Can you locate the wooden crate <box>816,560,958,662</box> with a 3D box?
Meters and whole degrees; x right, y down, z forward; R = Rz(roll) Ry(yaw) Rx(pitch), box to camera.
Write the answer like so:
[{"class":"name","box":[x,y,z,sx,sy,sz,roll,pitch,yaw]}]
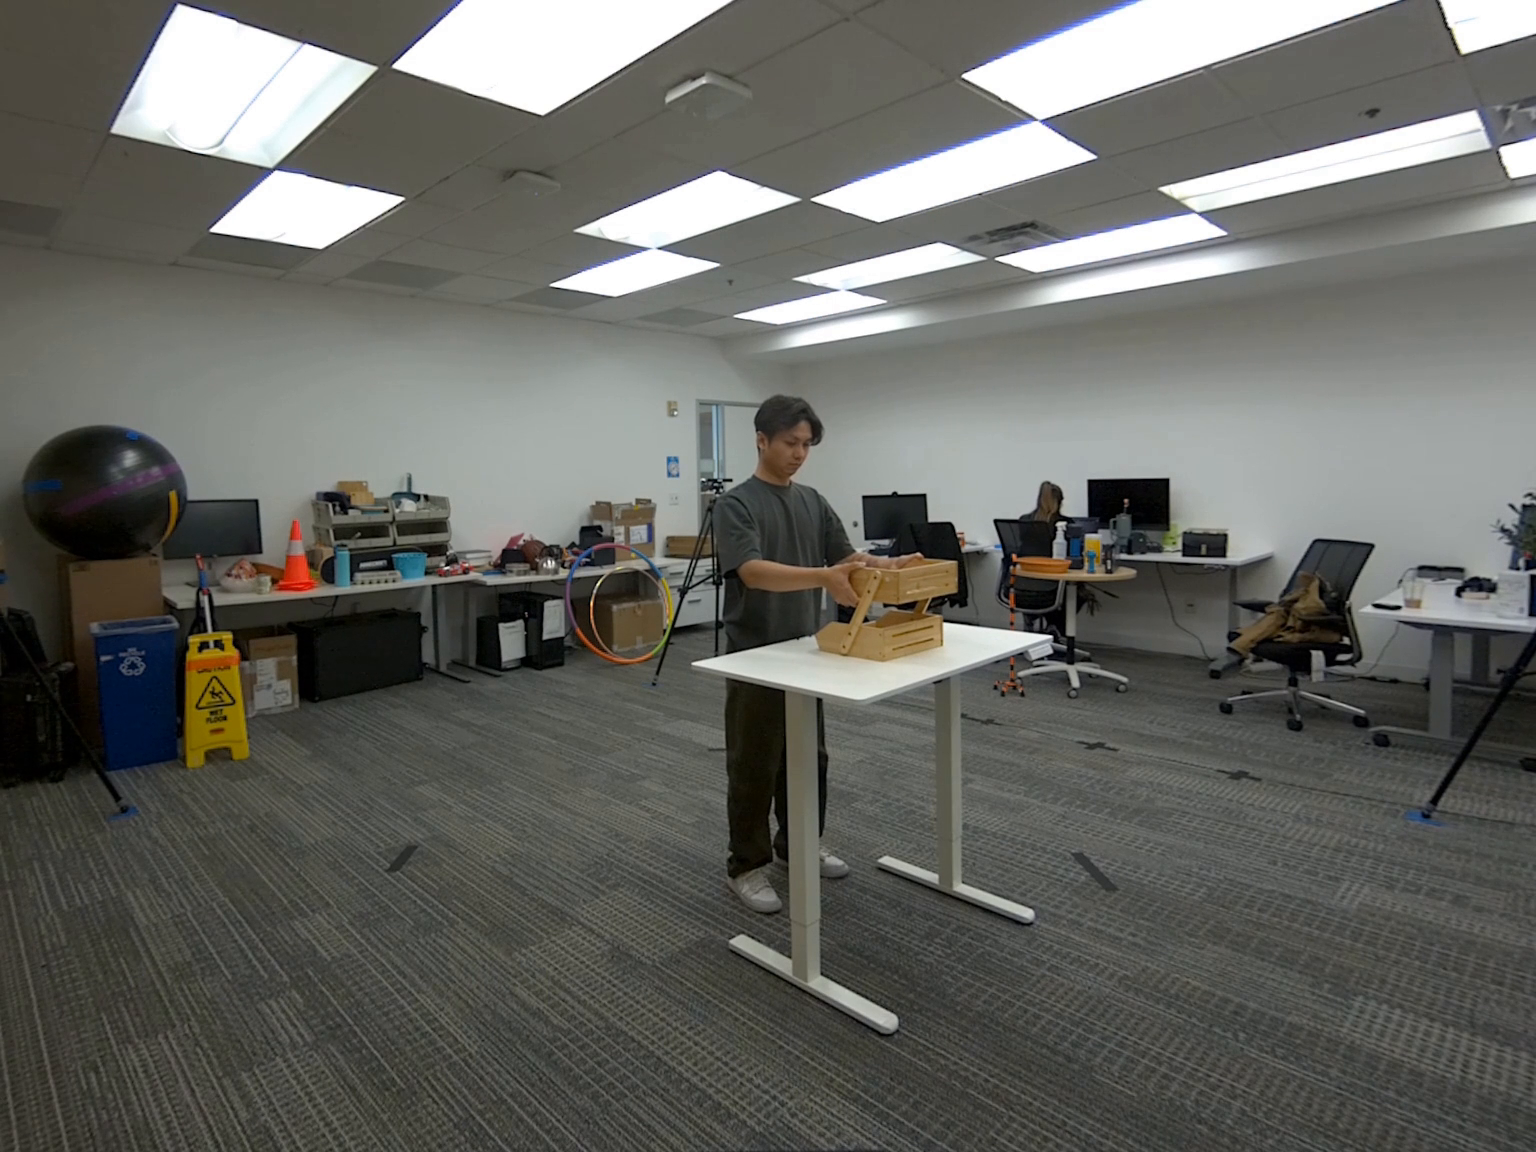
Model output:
[{"class":"wooden crate","box":[0.357,0.086,2.541,0.316,0.272,0.311,-7,8,-44]}]
